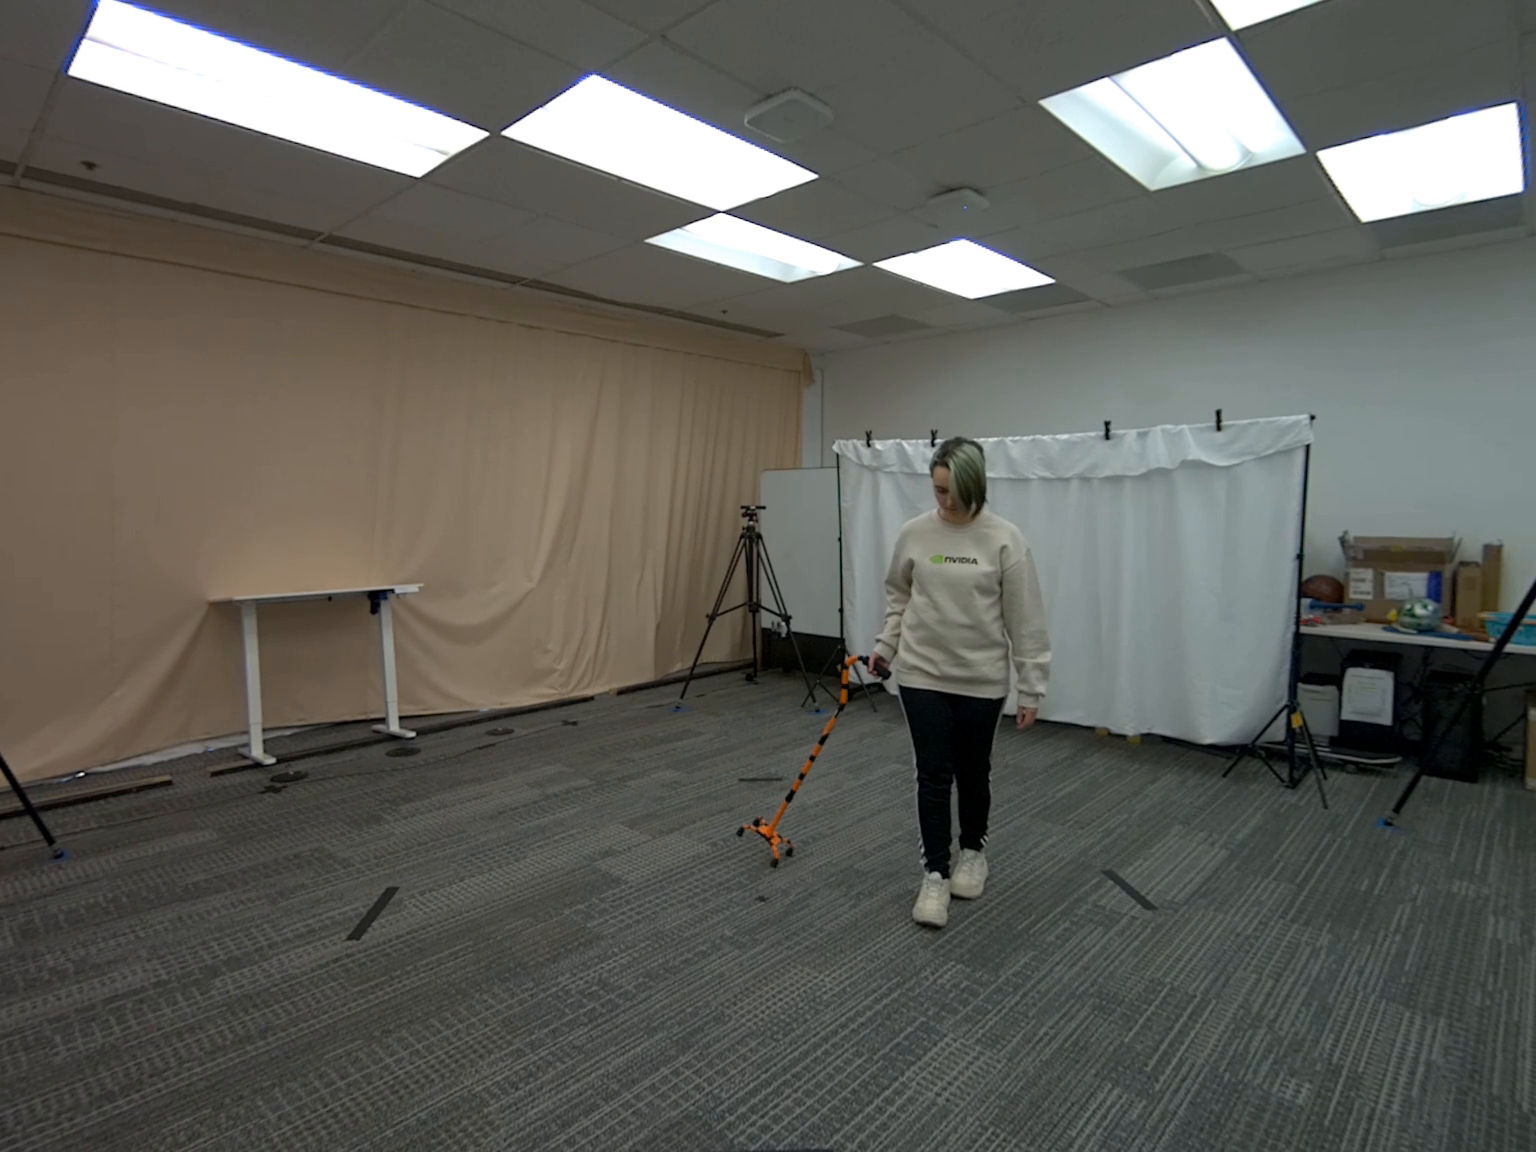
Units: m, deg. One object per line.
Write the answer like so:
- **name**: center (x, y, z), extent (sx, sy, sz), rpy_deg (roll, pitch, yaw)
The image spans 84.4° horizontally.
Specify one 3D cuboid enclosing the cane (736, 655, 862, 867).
- **cane**: center (0.168, 0.680, 3.195), extent (0.212, 0.906, 0.148), rpy_deg (33, 19, 22)
